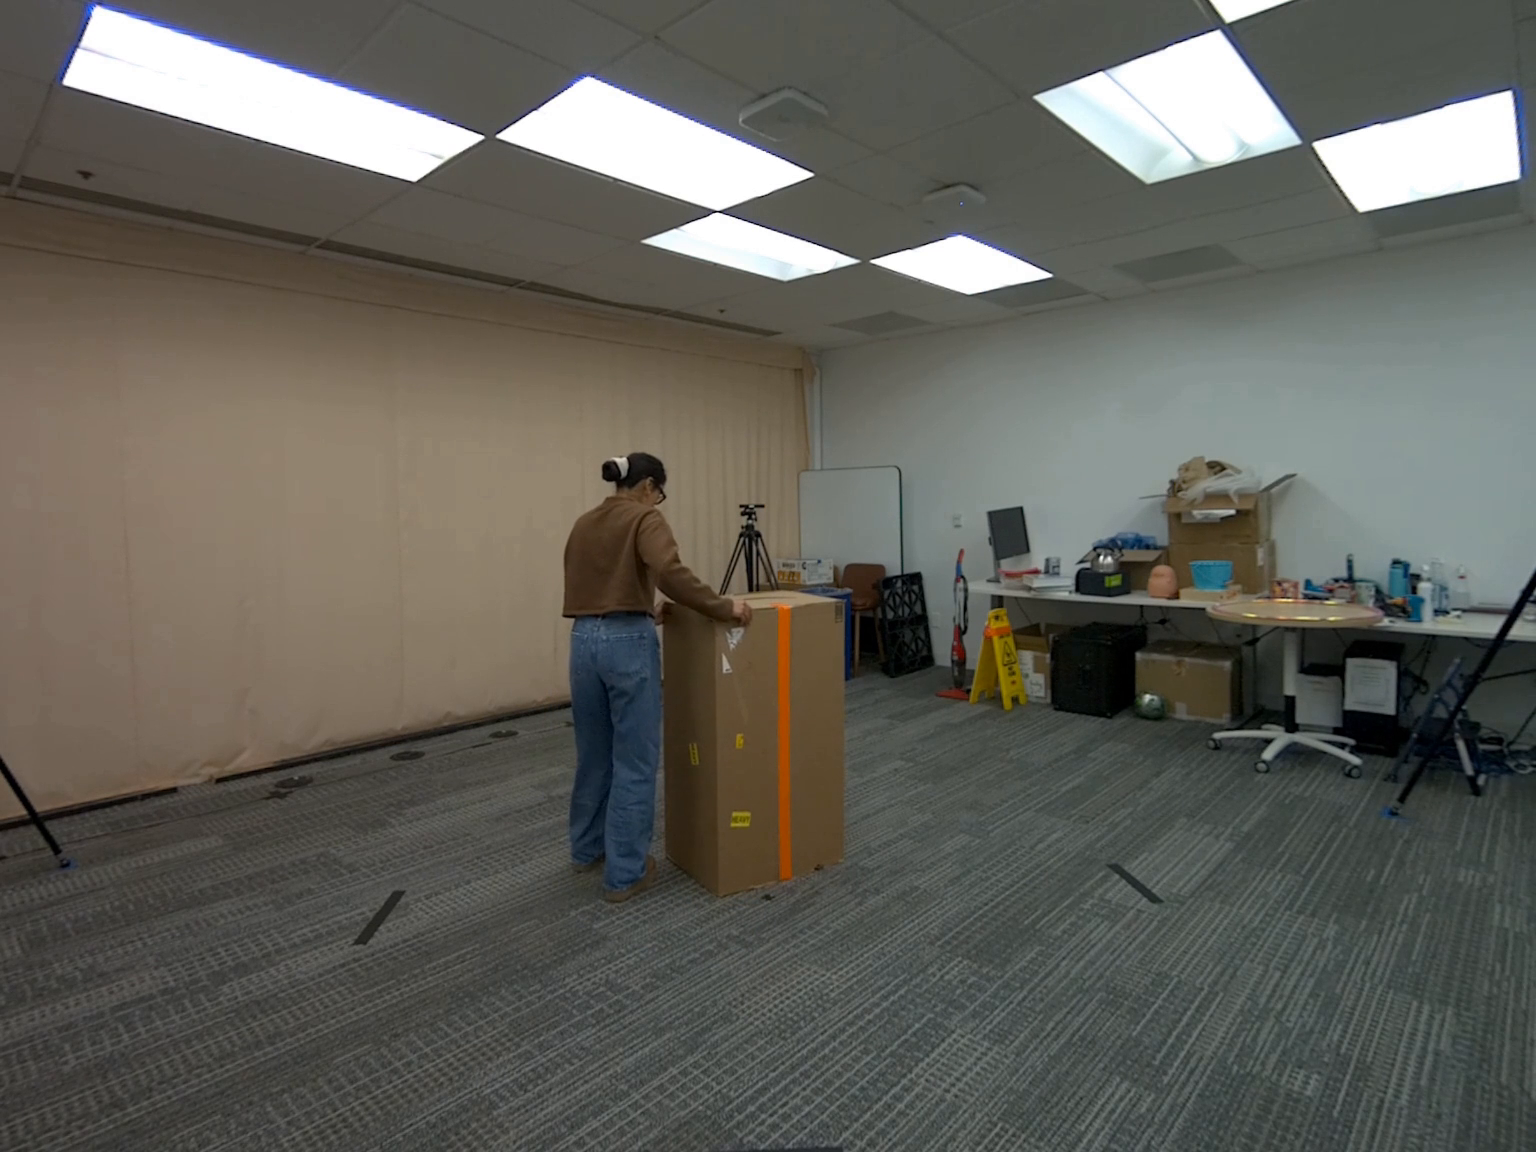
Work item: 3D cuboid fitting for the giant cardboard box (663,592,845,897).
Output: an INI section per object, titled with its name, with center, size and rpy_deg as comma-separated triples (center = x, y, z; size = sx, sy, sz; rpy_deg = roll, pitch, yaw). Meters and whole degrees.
[giant cardboard box]
center = -0.049, 0.603, 3.282
size = 0.562, 1.024, 0.439
rpy_deg = -2, 3, -32
